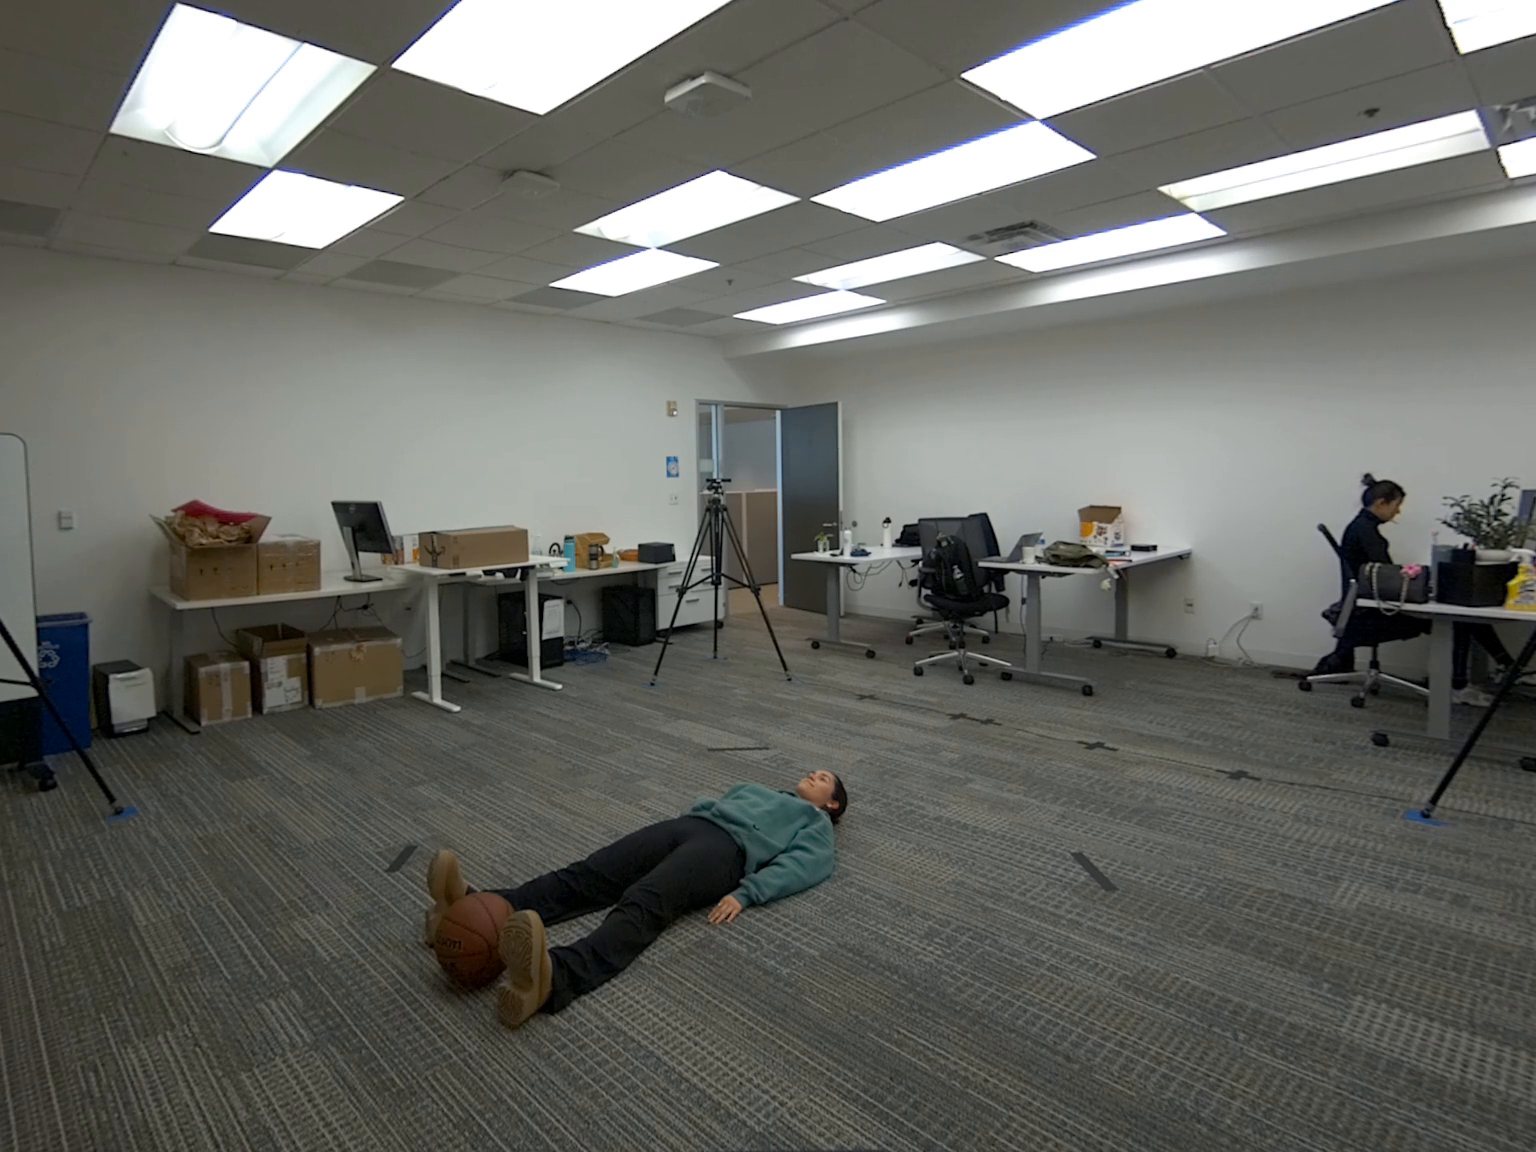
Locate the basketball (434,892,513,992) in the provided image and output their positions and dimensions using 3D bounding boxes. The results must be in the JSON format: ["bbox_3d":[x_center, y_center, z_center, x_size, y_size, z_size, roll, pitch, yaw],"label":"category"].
[{"bbox_3d":[-0.809,1.024,2.417,0.236,0.235,0.237,-1,4,-2],"label":"basketball"}]
